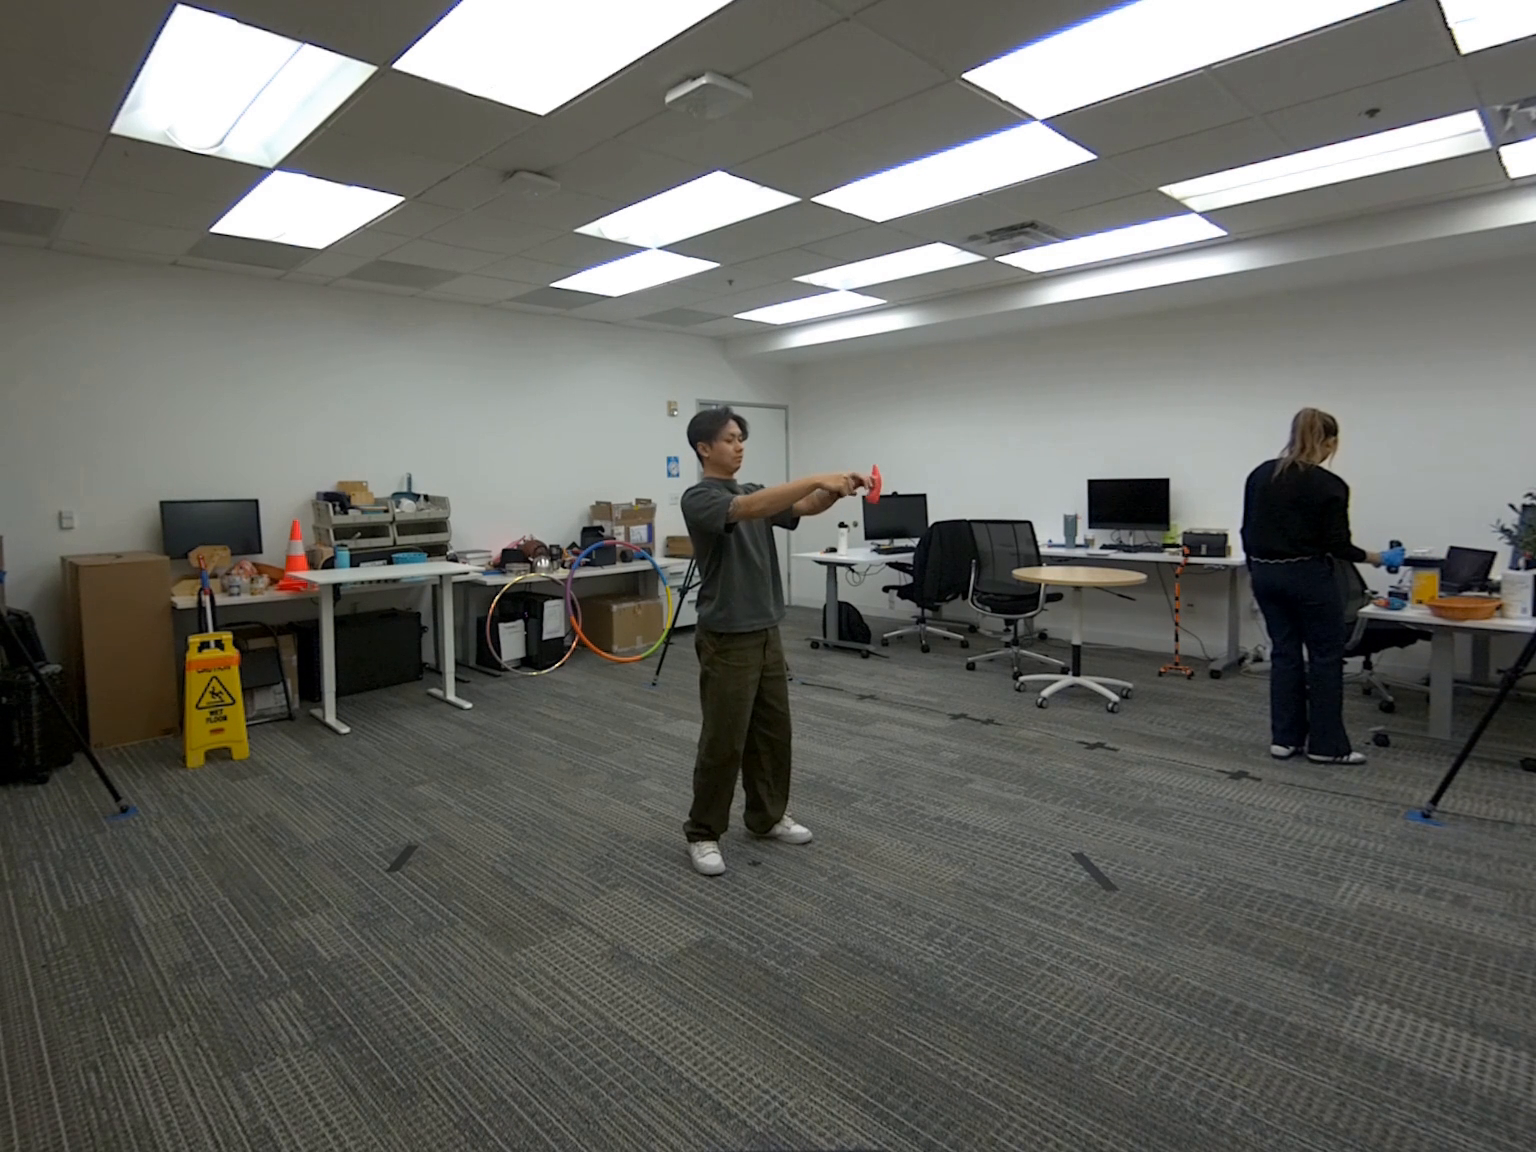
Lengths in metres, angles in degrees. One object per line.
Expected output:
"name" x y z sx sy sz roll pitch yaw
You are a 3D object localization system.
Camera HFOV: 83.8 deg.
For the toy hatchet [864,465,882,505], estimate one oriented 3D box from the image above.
"toy hatchet" 0.308 -0.271 2.893 0.030 0.128 0.268 4 29 45
